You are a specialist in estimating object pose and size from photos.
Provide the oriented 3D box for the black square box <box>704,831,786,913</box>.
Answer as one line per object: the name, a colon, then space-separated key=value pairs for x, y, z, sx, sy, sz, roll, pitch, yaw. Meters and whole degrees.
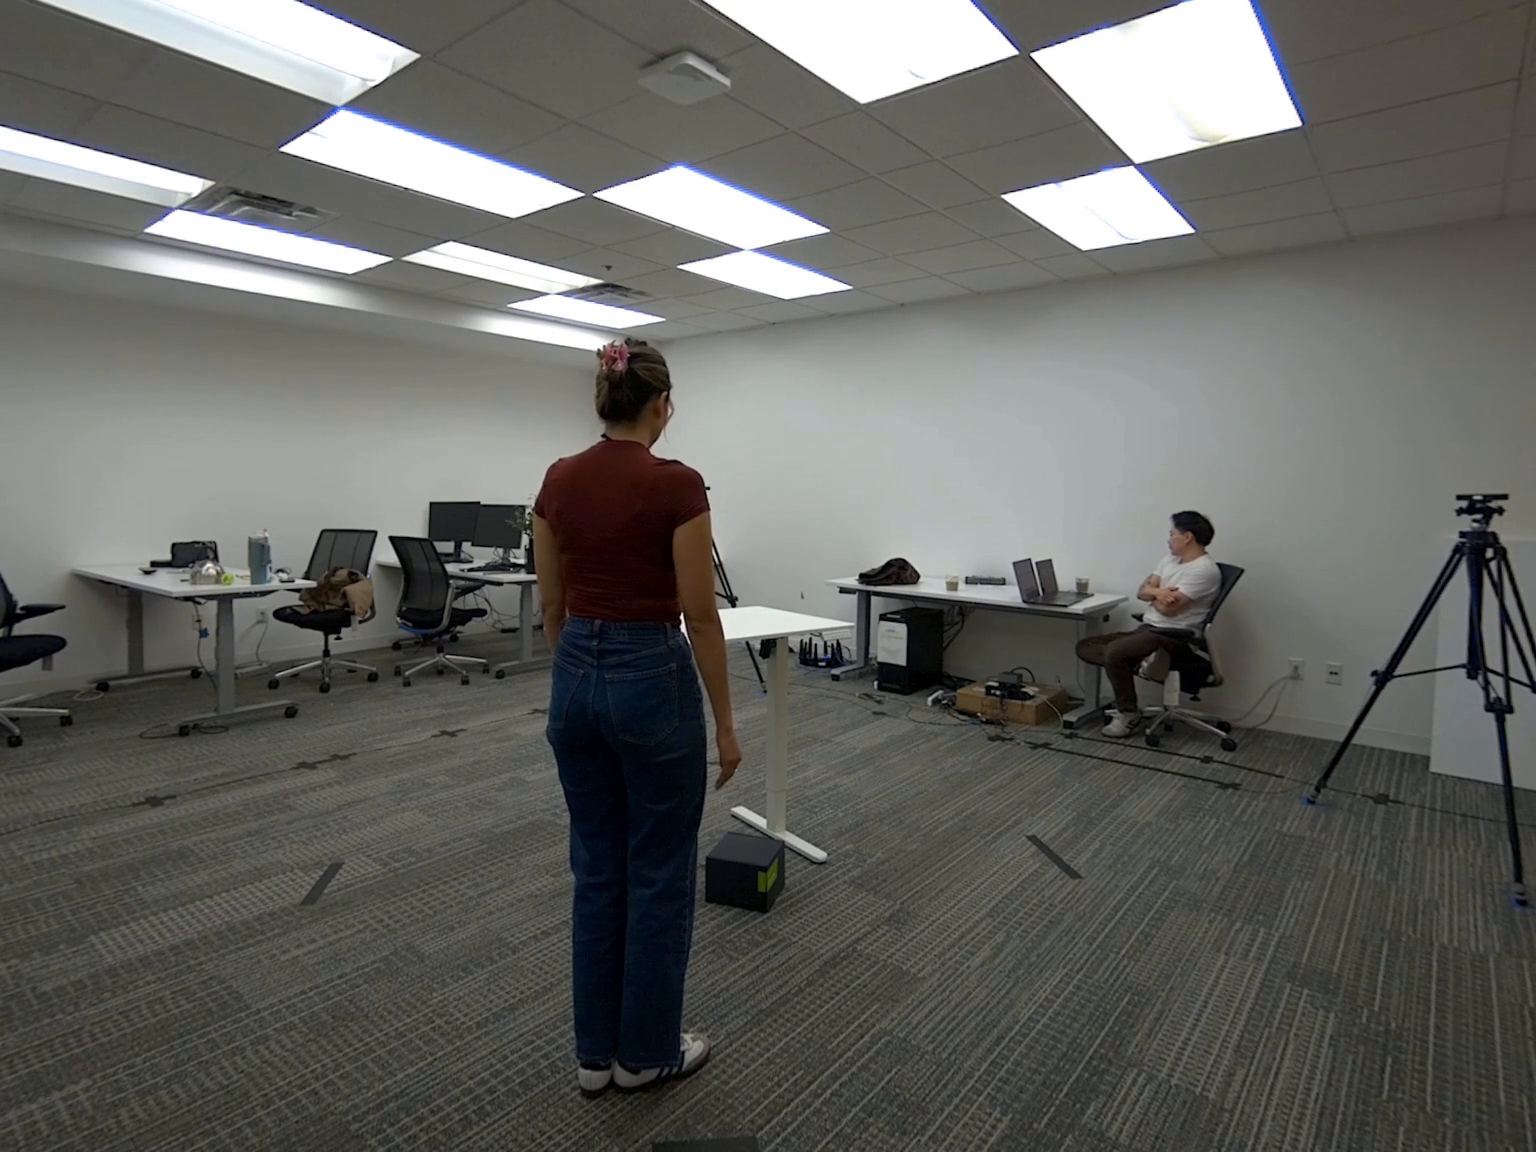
black square box: x=-0.085 y=1.001 z=2.912 sx=0.221 sy=0.155 sz=0.224 roll=3 pitch=5 yaw=18
